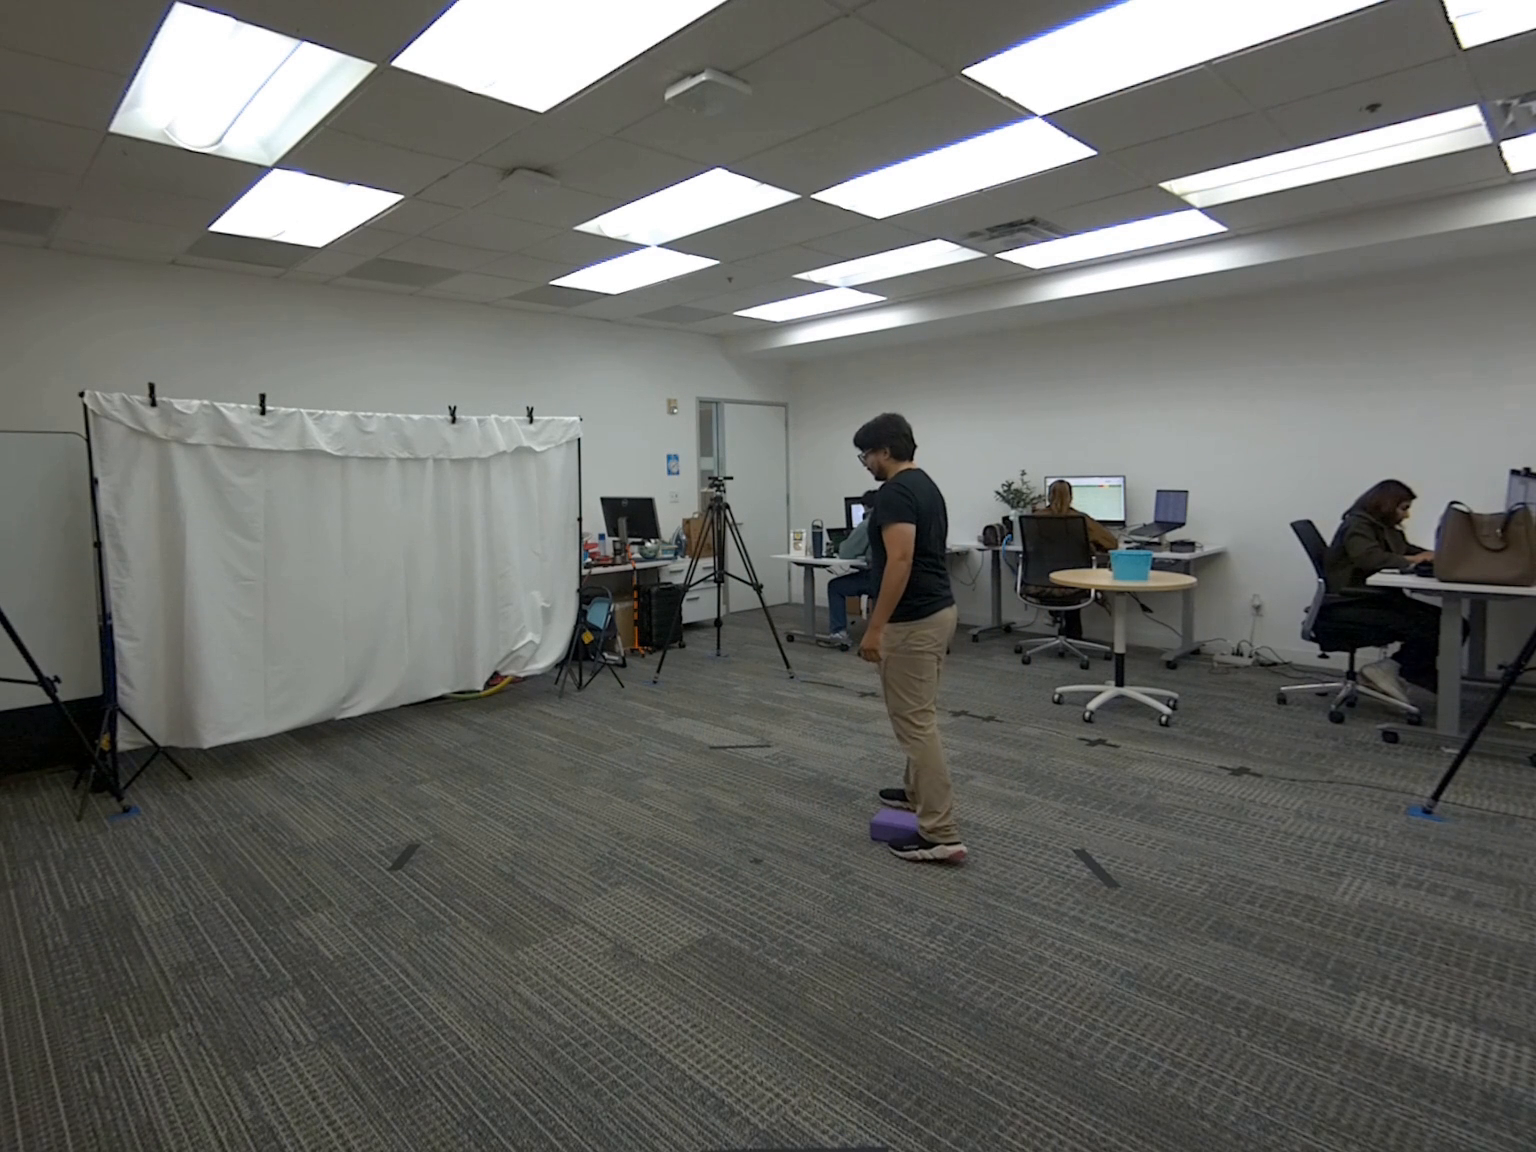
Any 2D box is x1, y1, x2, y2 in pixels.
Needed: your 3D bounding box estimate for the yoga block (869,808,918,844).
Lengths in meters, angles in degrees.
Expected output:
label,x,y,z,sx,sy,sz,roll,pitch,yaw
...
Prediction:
label,x,y,z,sx,sy,sz,roll,pitch,yaw
yoga block,0.524,0.966,3.277,0.235,0.076,0.146,0,6,27
